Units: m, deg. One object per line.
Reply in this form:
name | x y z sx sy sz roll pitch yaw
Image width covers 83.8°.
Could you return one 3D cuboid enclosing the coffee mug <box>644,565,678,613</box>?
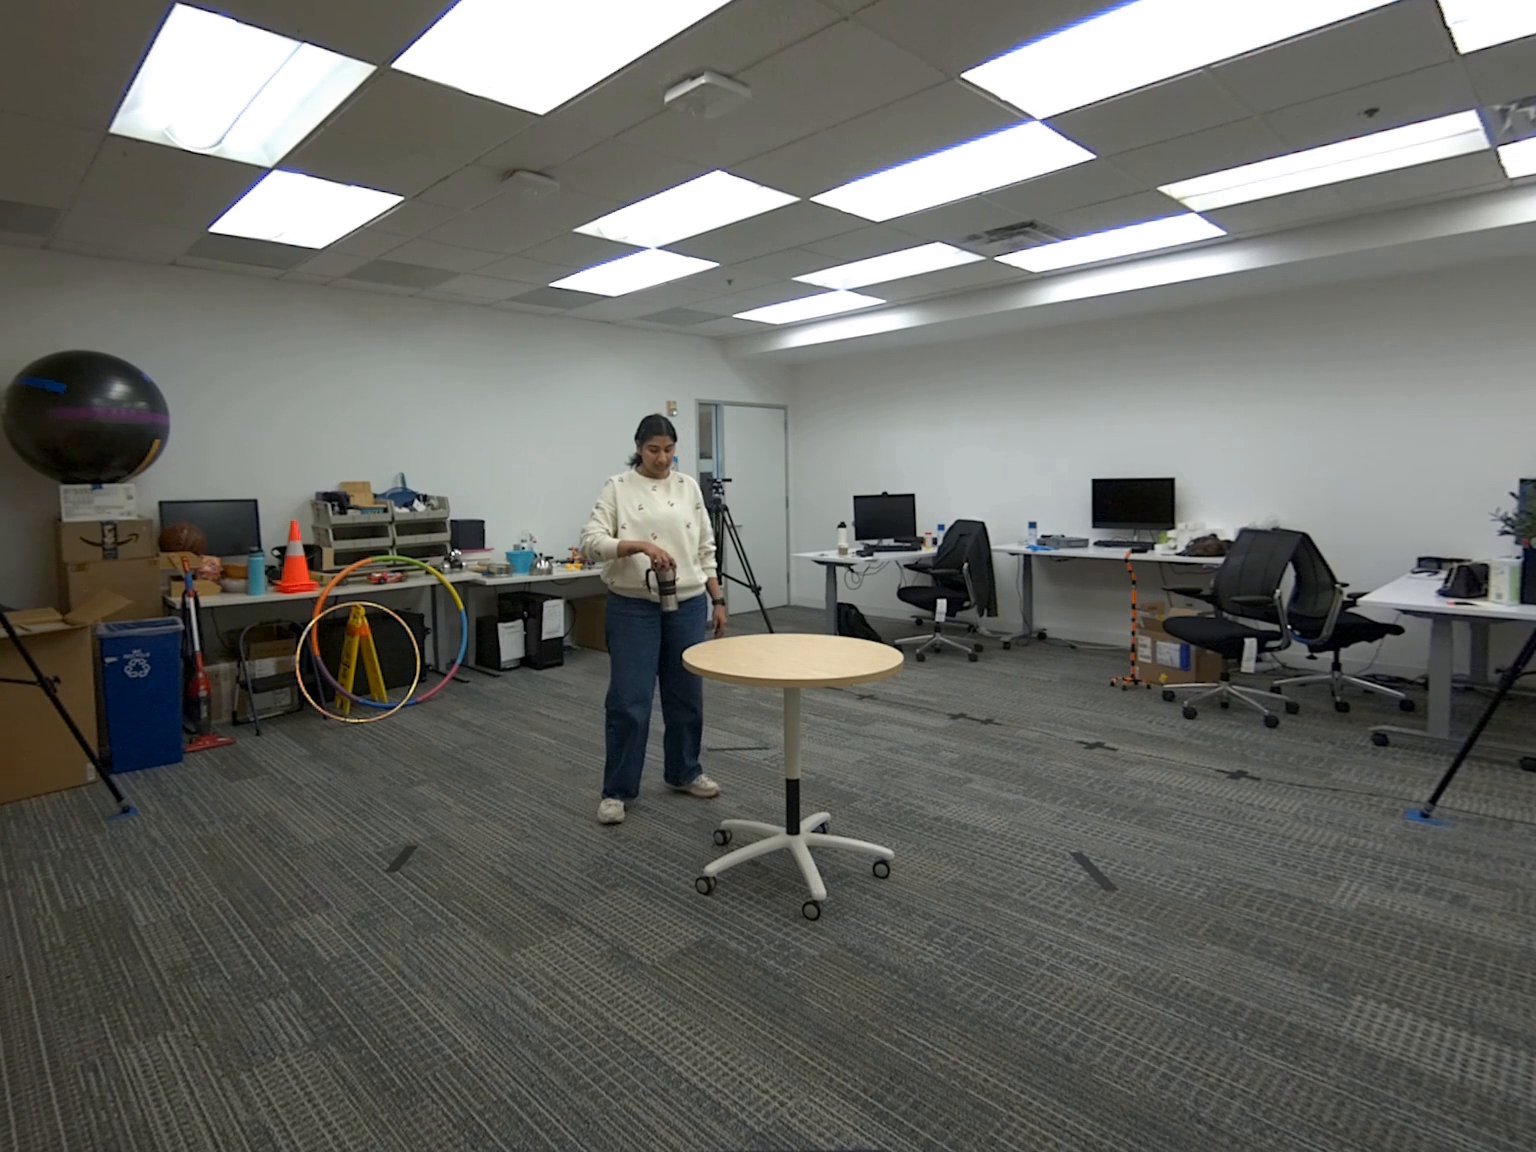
coffee mug | -0.431 0.047 3.427 0.125 0.201 0.086 3 12 37
